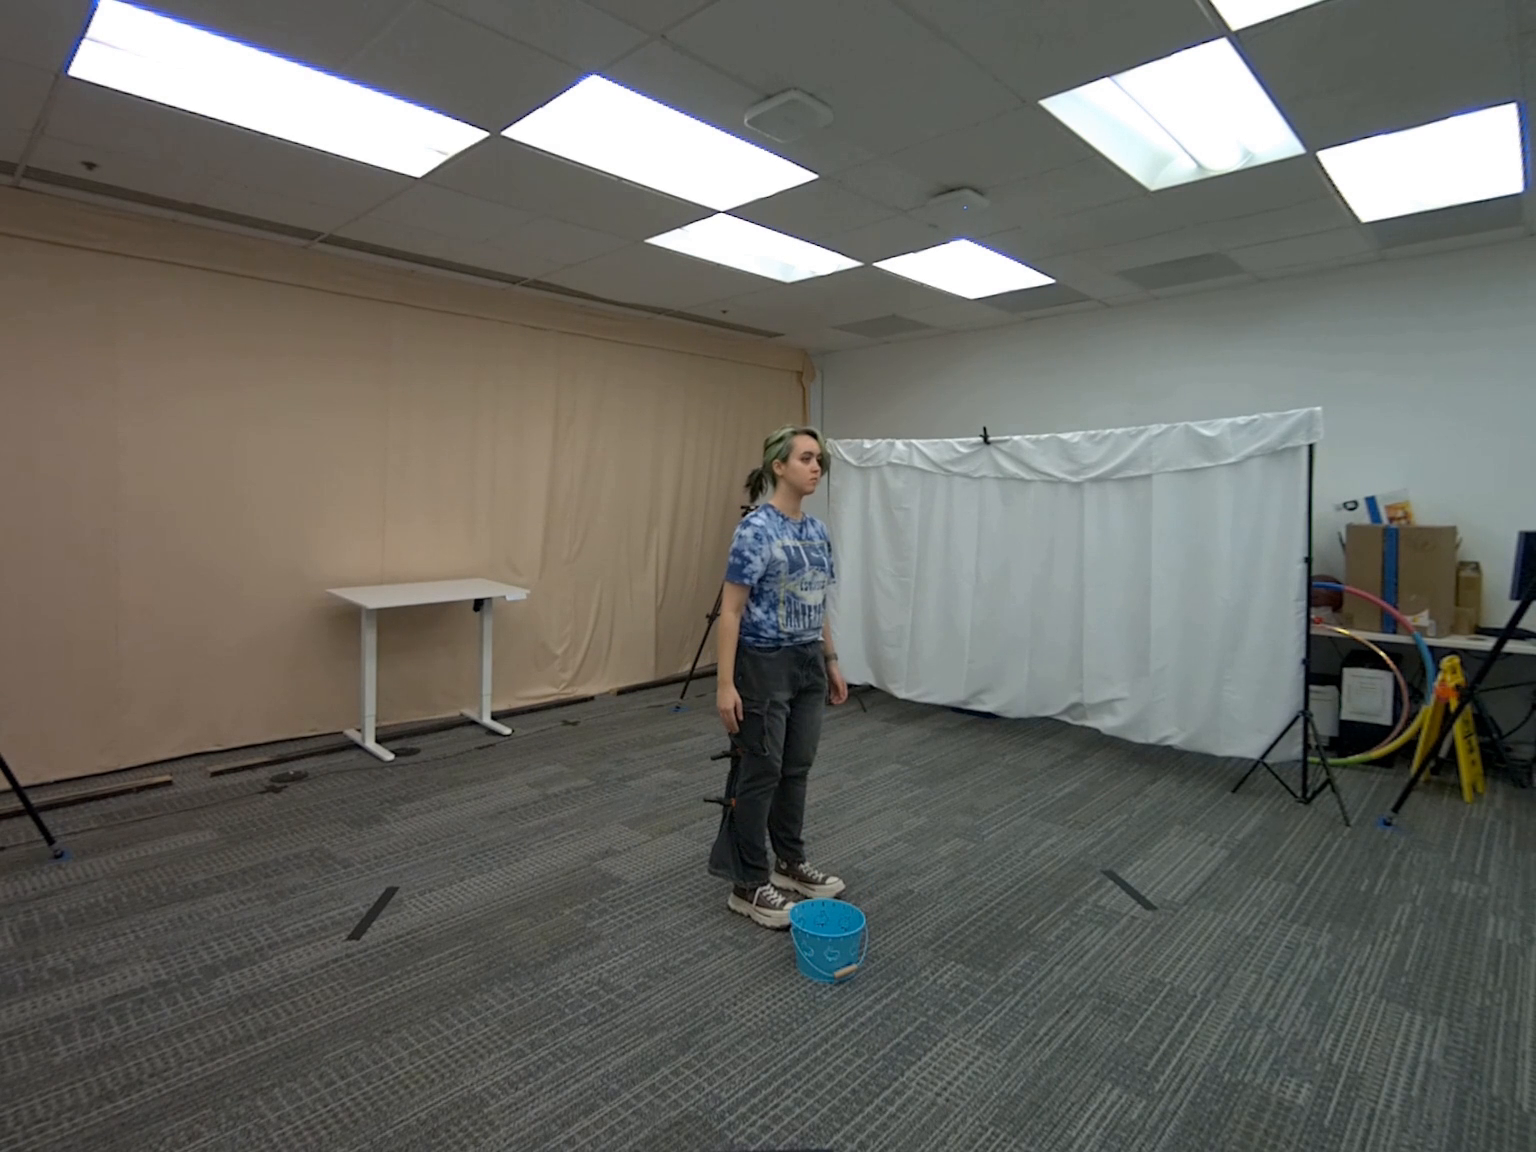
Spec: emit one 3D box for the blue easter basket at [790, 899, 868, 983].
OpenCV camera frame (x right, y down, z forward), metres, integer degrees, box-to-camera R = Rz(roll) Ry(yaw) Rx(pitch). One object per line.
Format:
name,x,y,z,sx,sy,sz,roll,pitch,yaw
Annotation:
blue easter basket,0.178,1.102,2.538,0.243,0.155,0.244,0,4,-2
